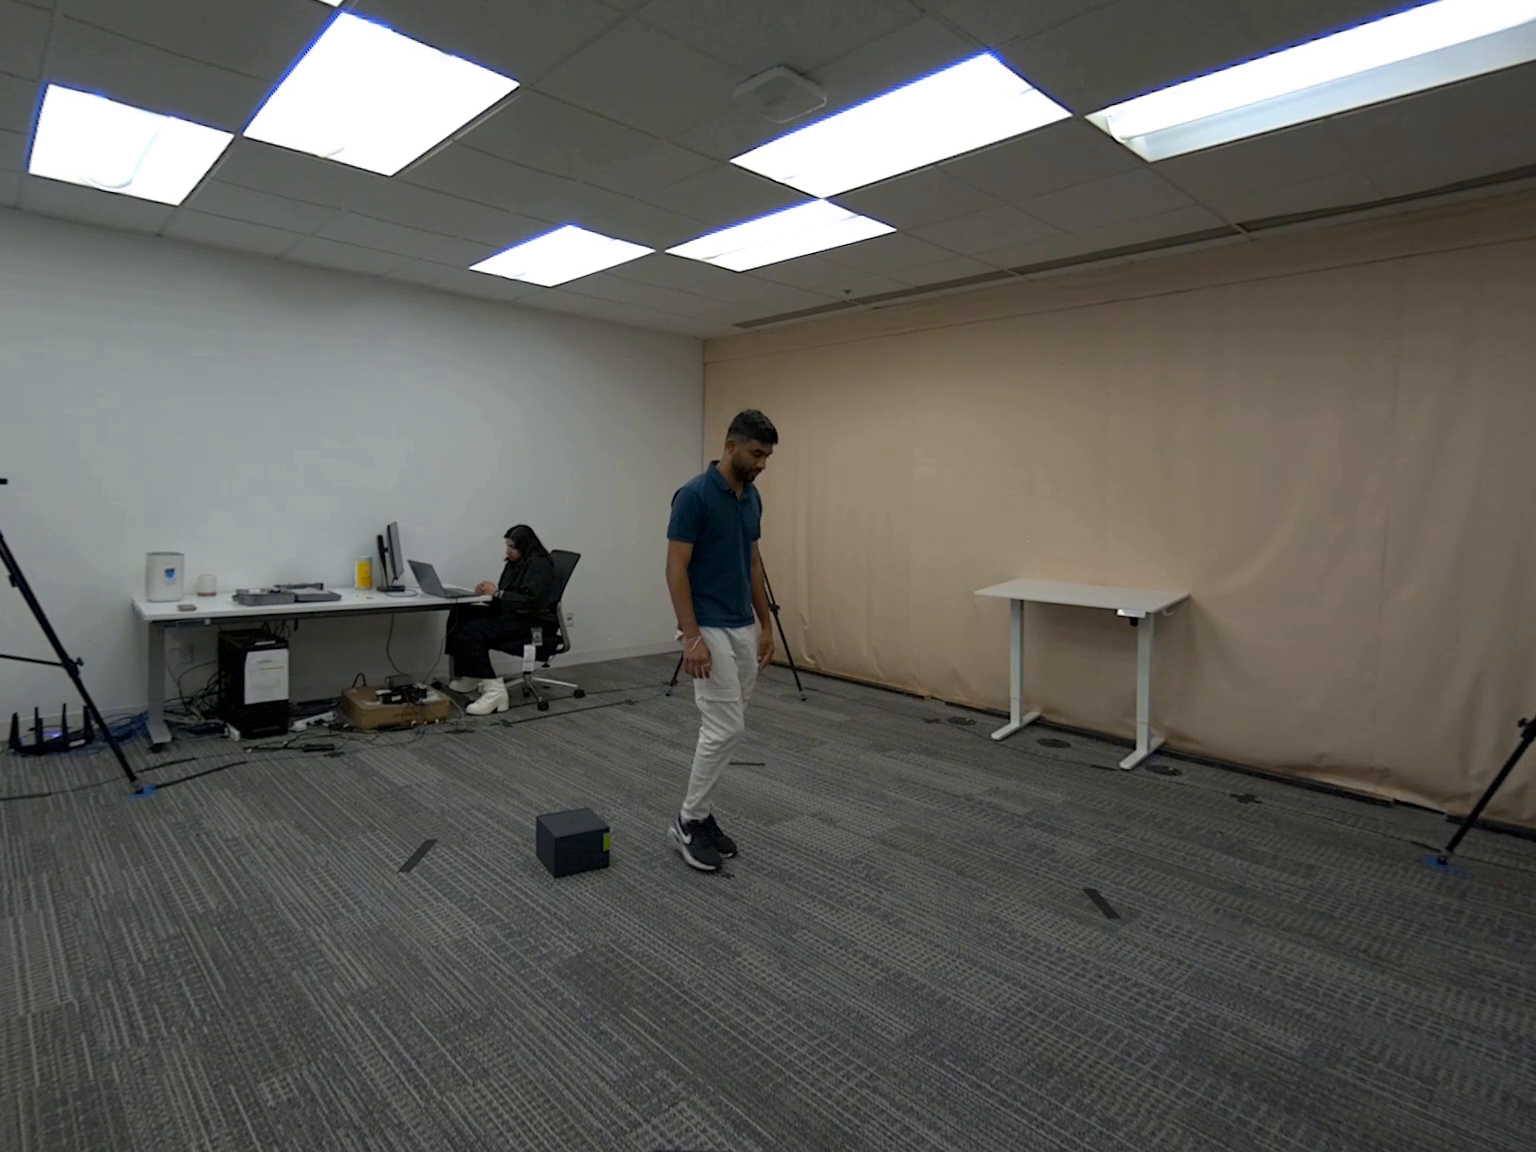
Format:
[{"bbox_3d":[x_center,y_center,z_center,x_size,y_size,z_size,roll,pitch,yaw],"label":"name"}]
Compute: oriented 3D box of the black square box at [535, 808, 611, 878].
[{"bbox_3d":[-0.748,1.004,3.184,0.212,0.155,0.233,-1,5,-33],"label":"black square box"}]
